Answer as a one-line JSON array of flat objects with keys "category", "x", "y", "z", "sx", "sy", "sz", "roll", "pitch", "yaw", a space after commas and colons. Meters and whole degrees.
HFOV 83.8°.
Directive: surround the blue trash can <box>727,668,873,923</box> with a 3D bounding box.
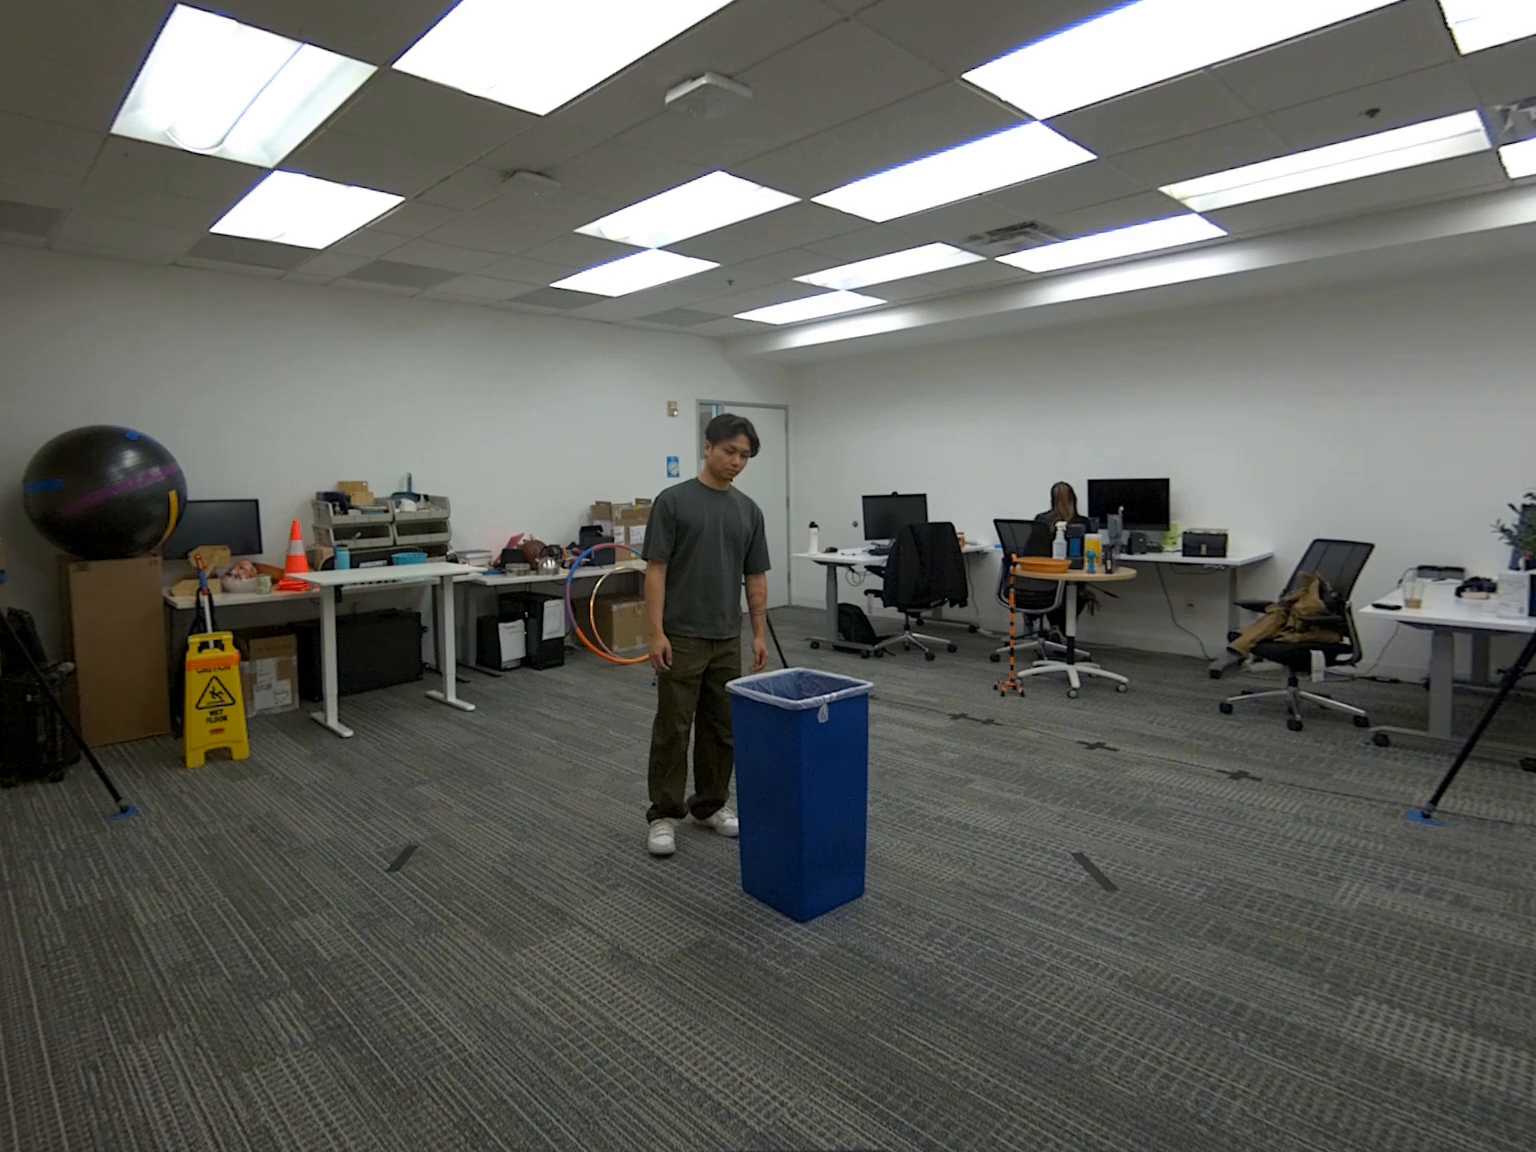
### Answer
[{"category": "blue trash can", "x": 0.119, "y": 0.713, "z": 2.869, "sx": 0.364, "sy": 0.711, "sz": 0.389, "roll": -5, "pitch": 5, "yaw": -41}]
